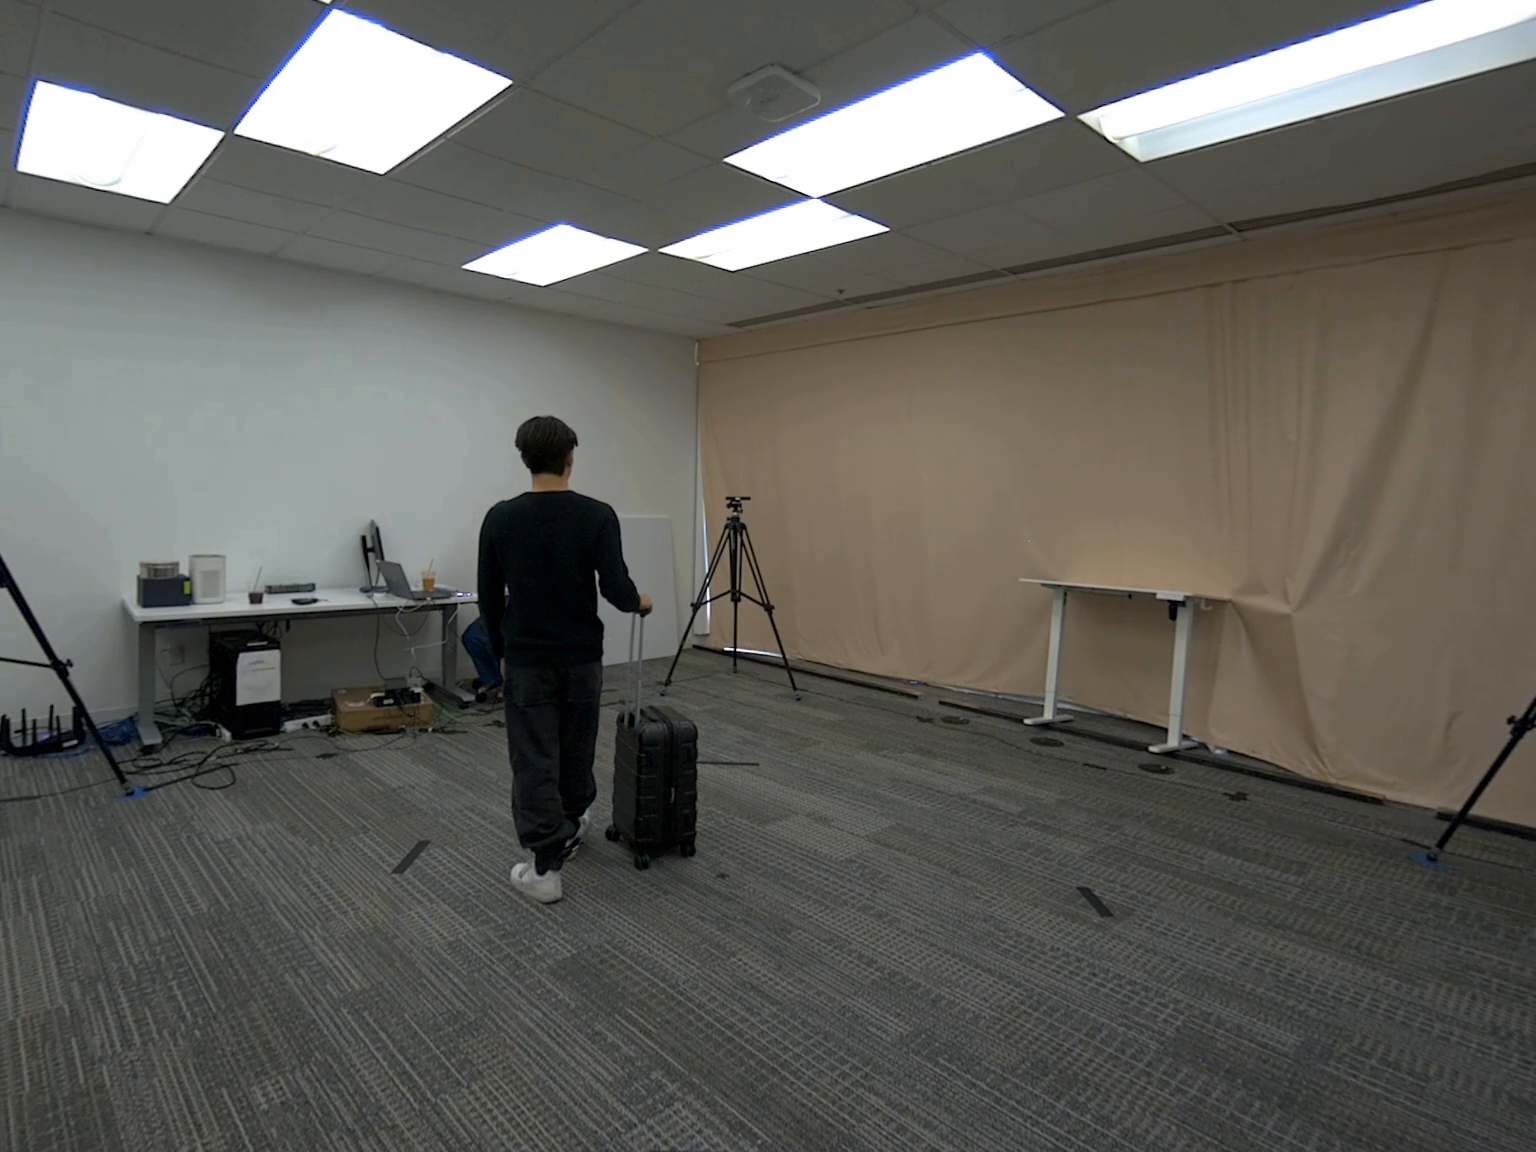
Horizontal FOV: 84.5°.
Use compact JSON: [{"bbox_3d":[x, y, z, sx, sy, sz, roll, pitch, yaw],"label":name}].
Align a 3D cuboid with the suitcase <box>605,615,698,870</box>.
[{"bbox_3d":[-0.443,0.602,3.326,0.252,0.977,0.391,2,3,-24],"label":"suitcase"}]
